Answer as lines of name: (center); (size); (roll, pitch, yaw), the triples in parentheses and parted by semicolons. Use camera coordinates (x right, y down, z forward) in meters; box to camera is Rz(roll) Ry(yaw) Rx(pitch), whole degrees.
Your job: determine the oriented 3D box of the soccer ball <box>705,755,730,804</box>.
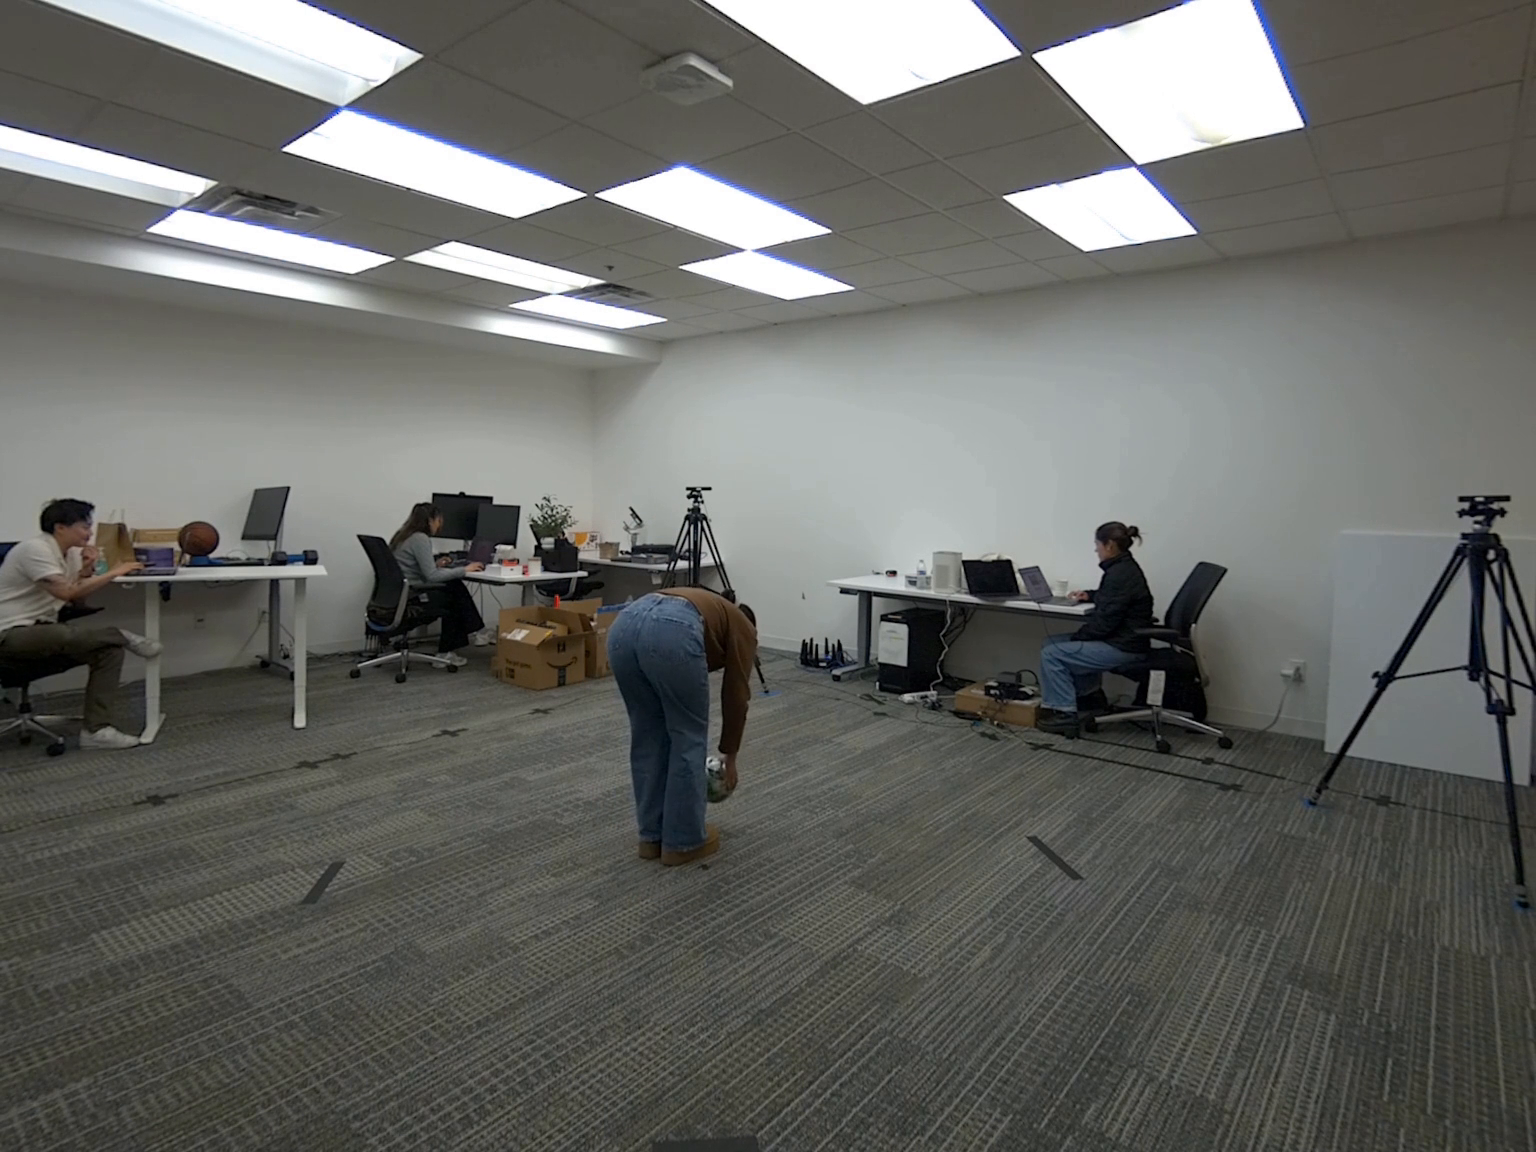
soccer ball: (-0.227, 0.825, 3.495); (0.187, 0.187, 0.188); (1, 4, -2)
